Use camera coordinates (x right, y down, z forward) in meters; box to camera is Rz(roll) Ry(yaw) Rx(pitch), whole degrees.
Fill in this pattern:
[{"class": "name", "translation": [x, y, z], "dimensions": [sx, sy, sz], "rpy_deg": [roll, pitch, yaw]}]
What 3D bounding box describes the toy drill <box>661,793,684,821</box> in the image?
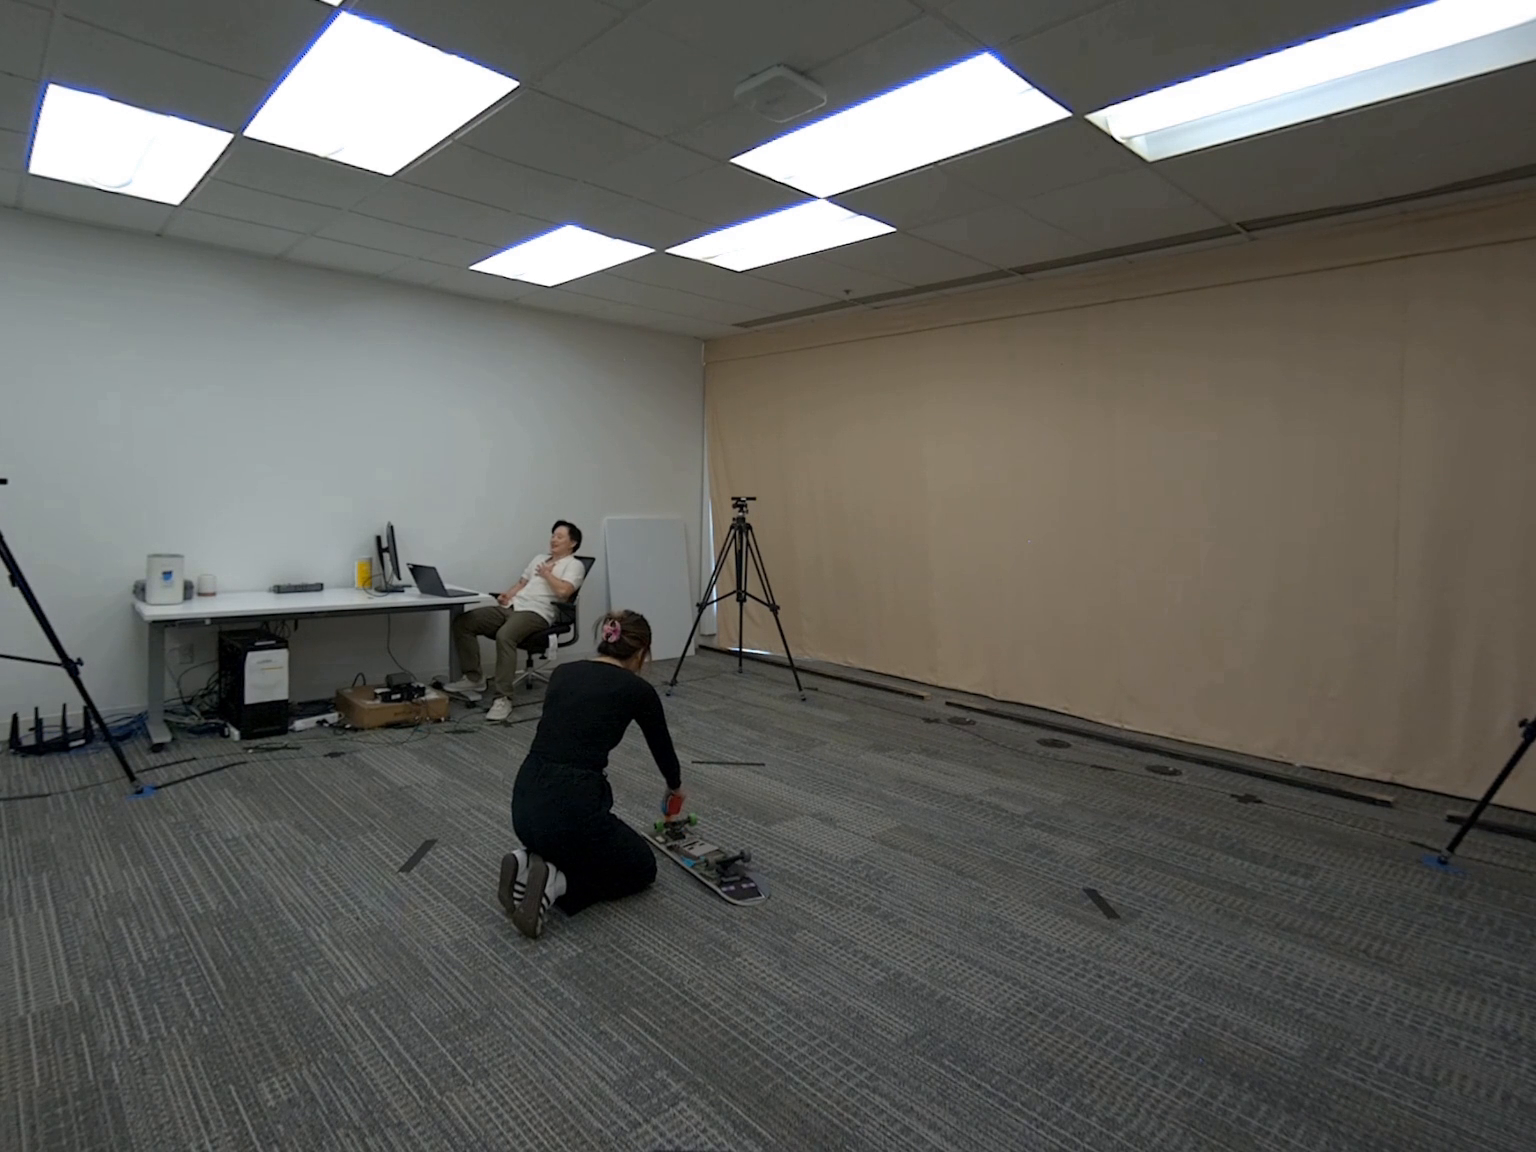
[{"class": "toy drill", "translation": [-0.398, 0.941, 3.357], "dimensions": [0.061, 0.170, 0.147], "rpy_deg": [11, -4, -9]}]
